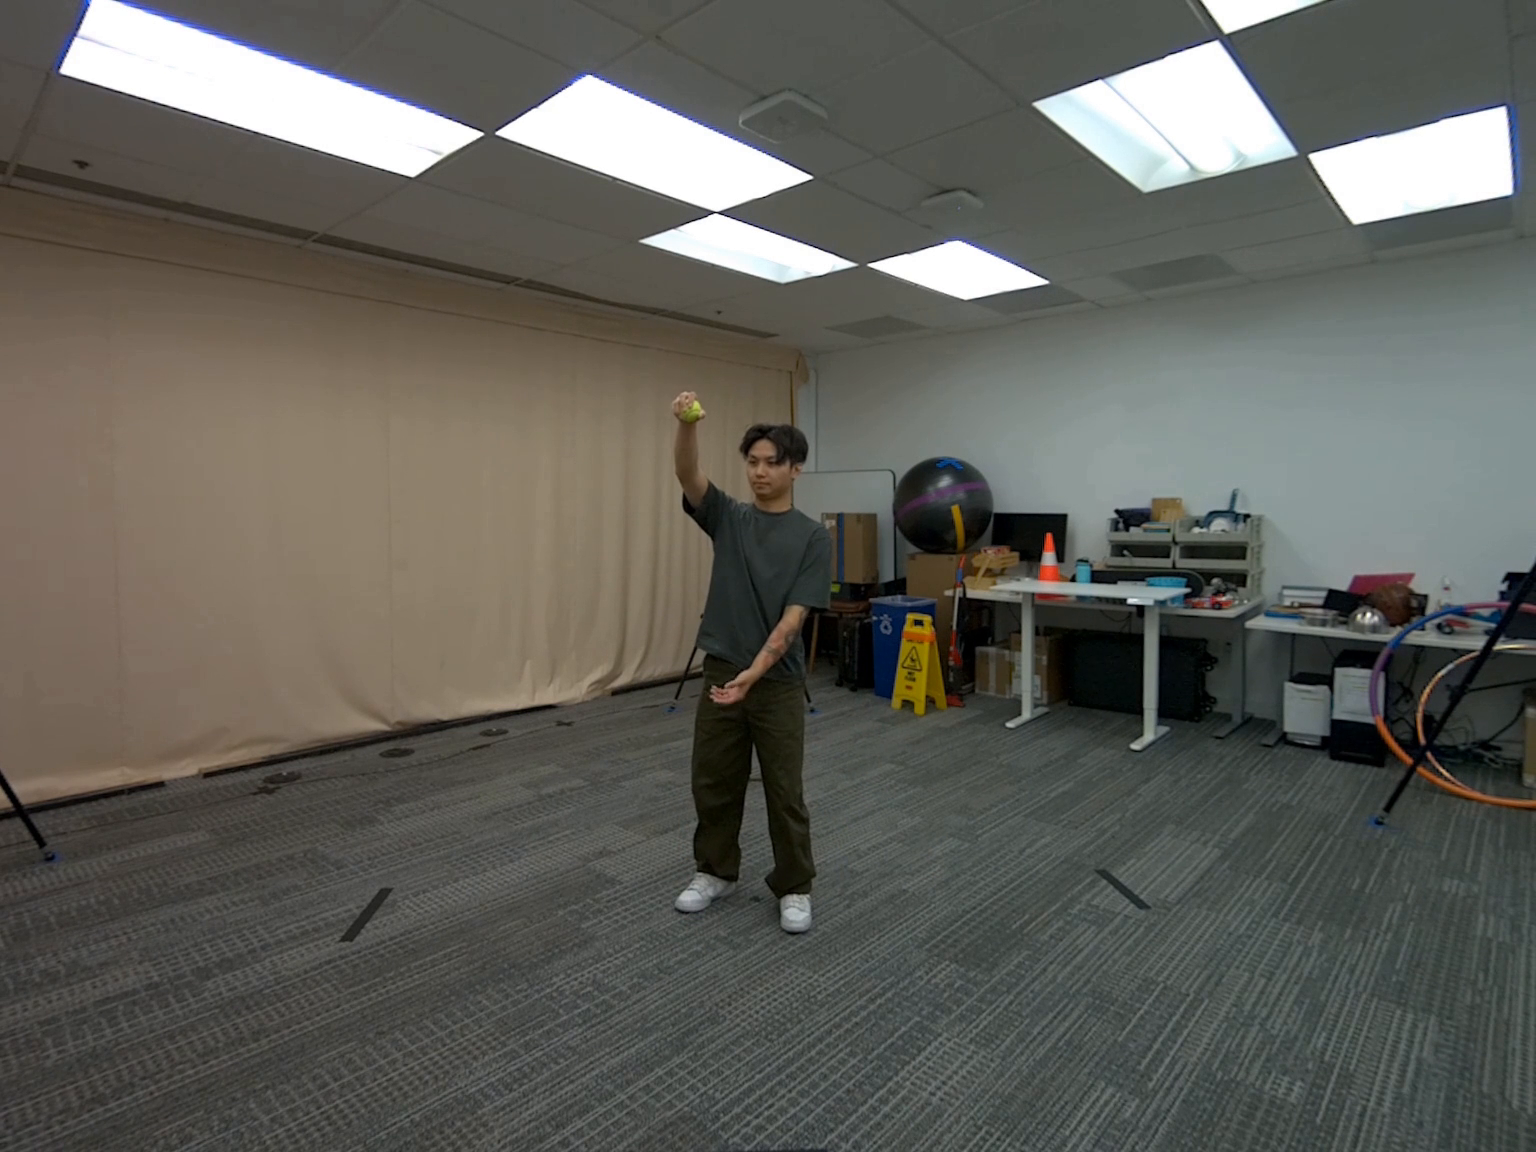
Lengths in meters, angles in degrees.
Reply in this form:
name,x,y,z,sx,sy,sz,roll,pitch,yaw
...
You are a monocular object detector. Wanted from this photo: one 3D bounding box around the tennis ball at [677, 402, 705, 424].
name,x,y,z,sx,sy,sz,roll,pitch,yaw
tennis ball,-0.236,-0.476,2.491,0.066,0.066,0.067,0,4,-2
